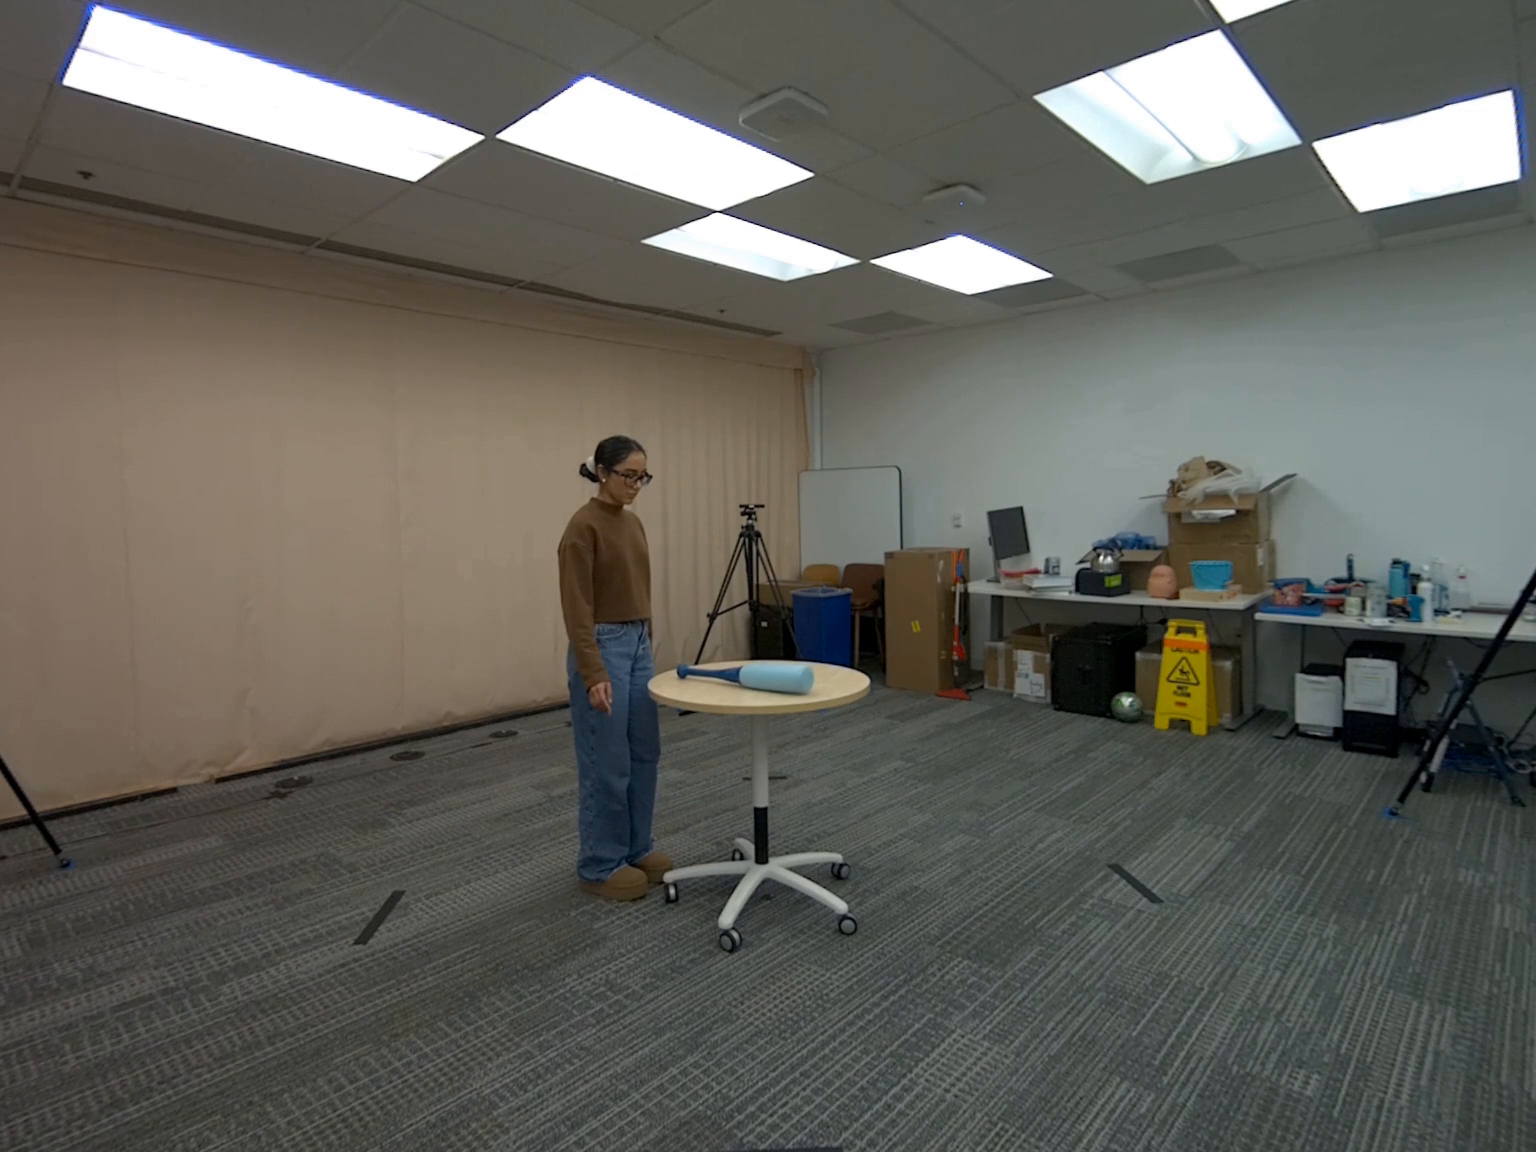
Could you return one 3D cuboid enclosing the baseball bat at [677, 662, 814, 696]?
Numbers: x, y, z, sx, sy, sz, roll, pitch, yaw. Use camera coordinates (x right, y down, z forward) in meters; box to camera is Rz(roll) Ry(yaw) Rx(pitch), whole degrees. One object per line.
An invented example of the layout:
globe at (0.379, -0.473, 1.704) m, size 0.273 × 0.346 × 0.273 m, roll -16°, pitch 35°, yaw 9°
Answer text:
baseball bat at (-0.090, 0.337, 2.821) m, size 0.559 × 0.089 × 0.086 m, roll -2°, pitch 2°, yaw 36°
